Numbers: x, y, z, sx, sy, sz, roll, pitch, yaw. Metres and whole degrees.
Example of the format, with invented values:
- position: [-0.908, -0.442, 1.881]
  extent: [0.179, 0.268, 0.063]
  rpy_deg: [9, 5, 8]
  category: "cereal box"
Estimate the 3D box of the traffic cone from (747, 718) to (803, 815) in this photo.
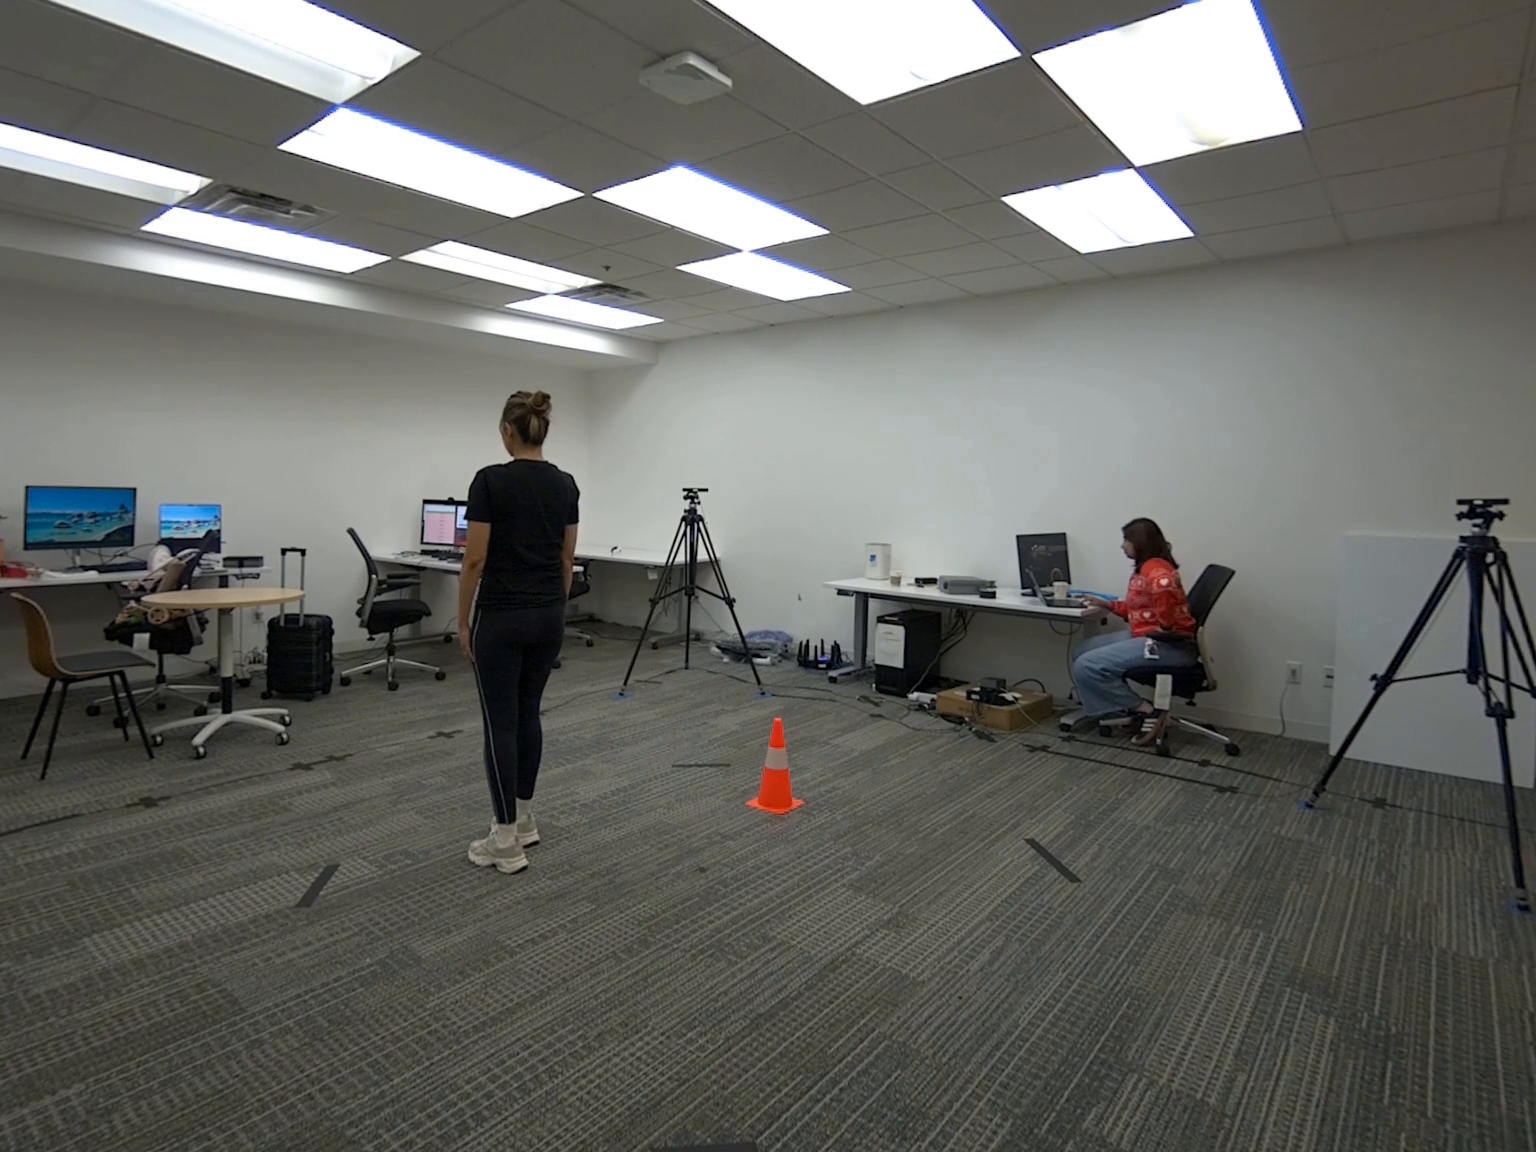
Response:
- position: [0.028, 0.822, 3.780]
  extent: [0.212, 0.382, 0.197]
  rpy_deg: [6, 6, 41]
  category: "traffic cone"
